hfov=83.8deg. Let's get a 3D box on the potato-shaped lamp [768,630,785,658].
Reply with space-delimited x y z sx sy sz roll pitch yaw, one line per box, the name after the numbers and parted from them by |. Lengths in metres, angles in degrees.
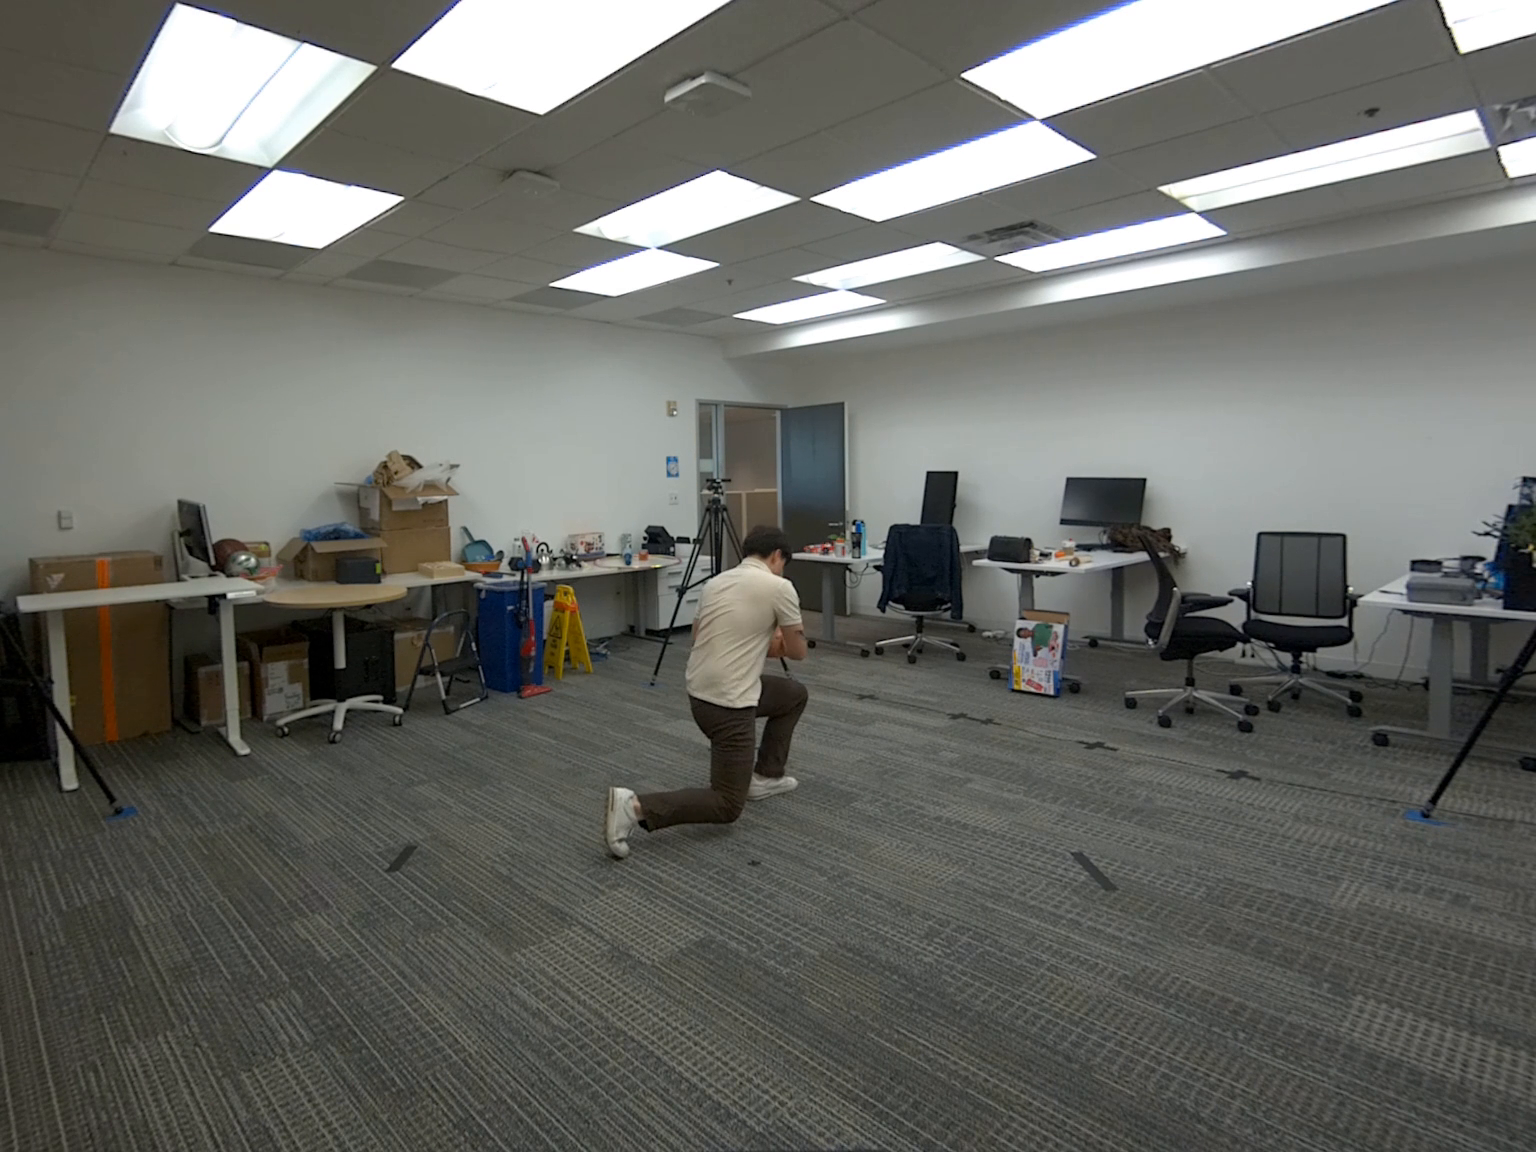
0.022 0.277 3.944 0.167 0.198 0.169 -11 1 19 | potato-shaped lamp
